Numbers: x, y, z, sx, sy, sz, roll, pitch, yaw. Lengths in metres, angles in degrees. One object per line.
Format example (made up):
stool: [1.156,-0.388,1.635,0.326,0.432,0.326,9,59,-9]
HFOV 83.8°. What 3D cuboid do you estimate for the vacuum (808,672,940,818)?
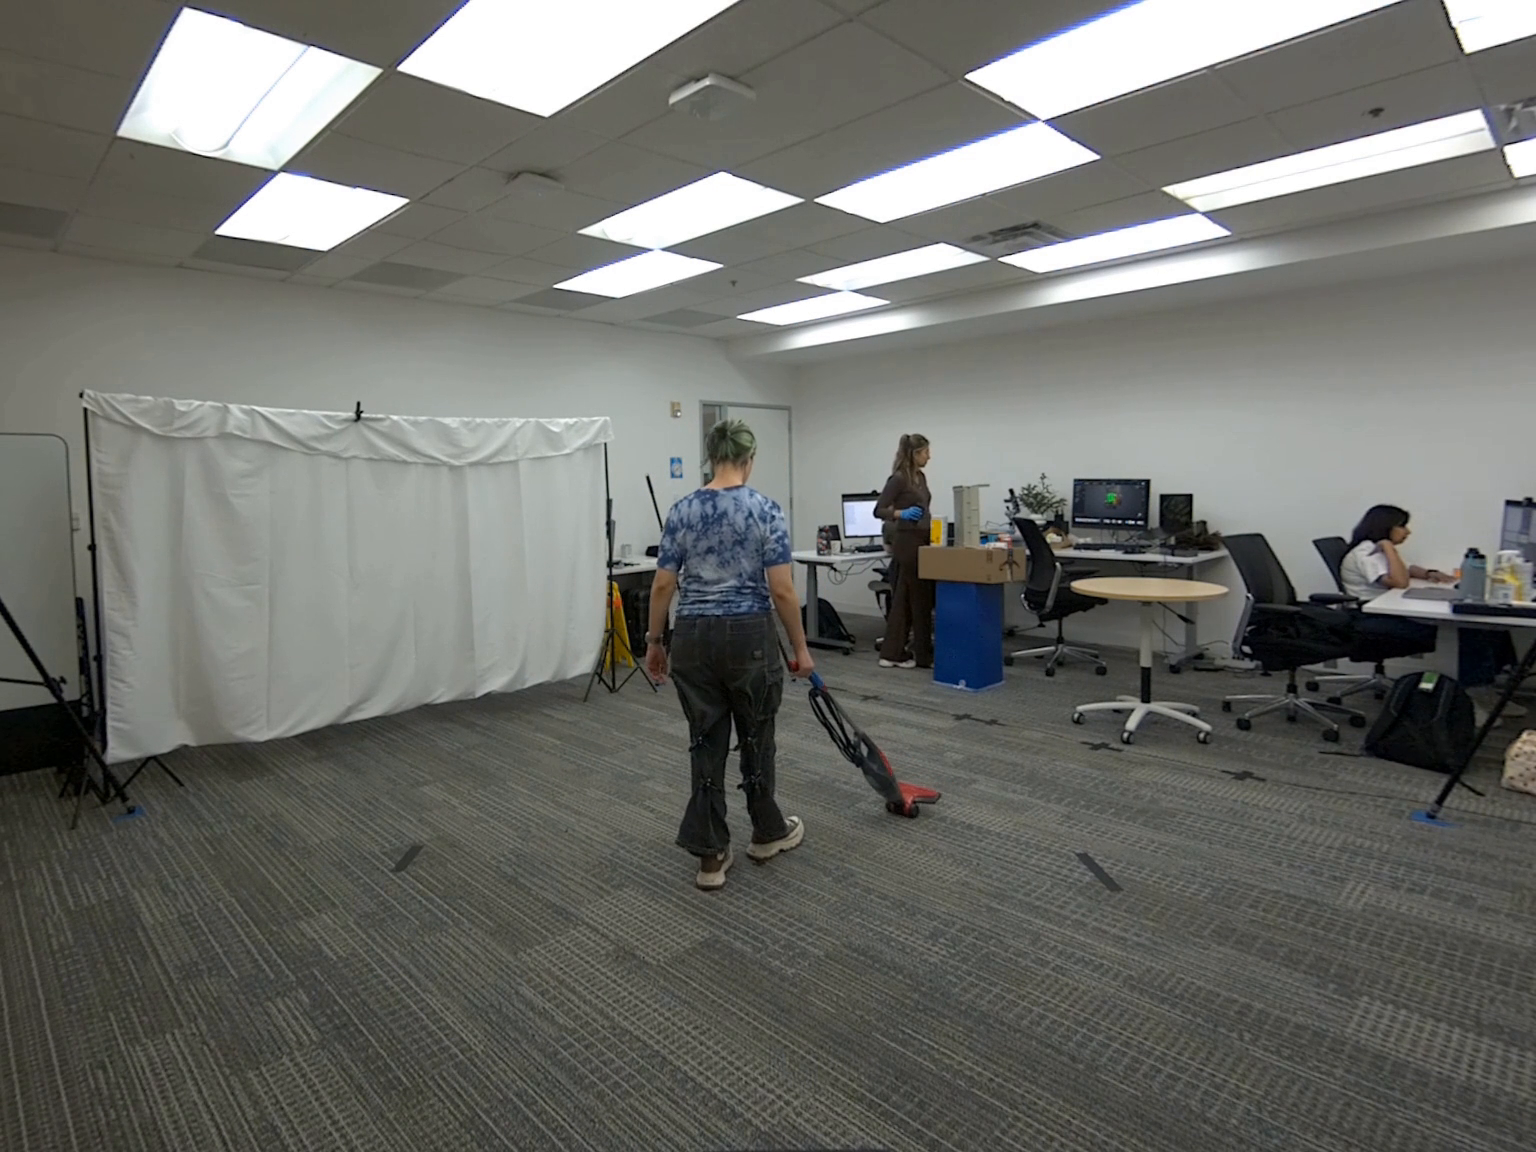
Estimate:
vacuum: [0.332,0.639,3.291,0.260,0.145,1.011,3,-36,43]
